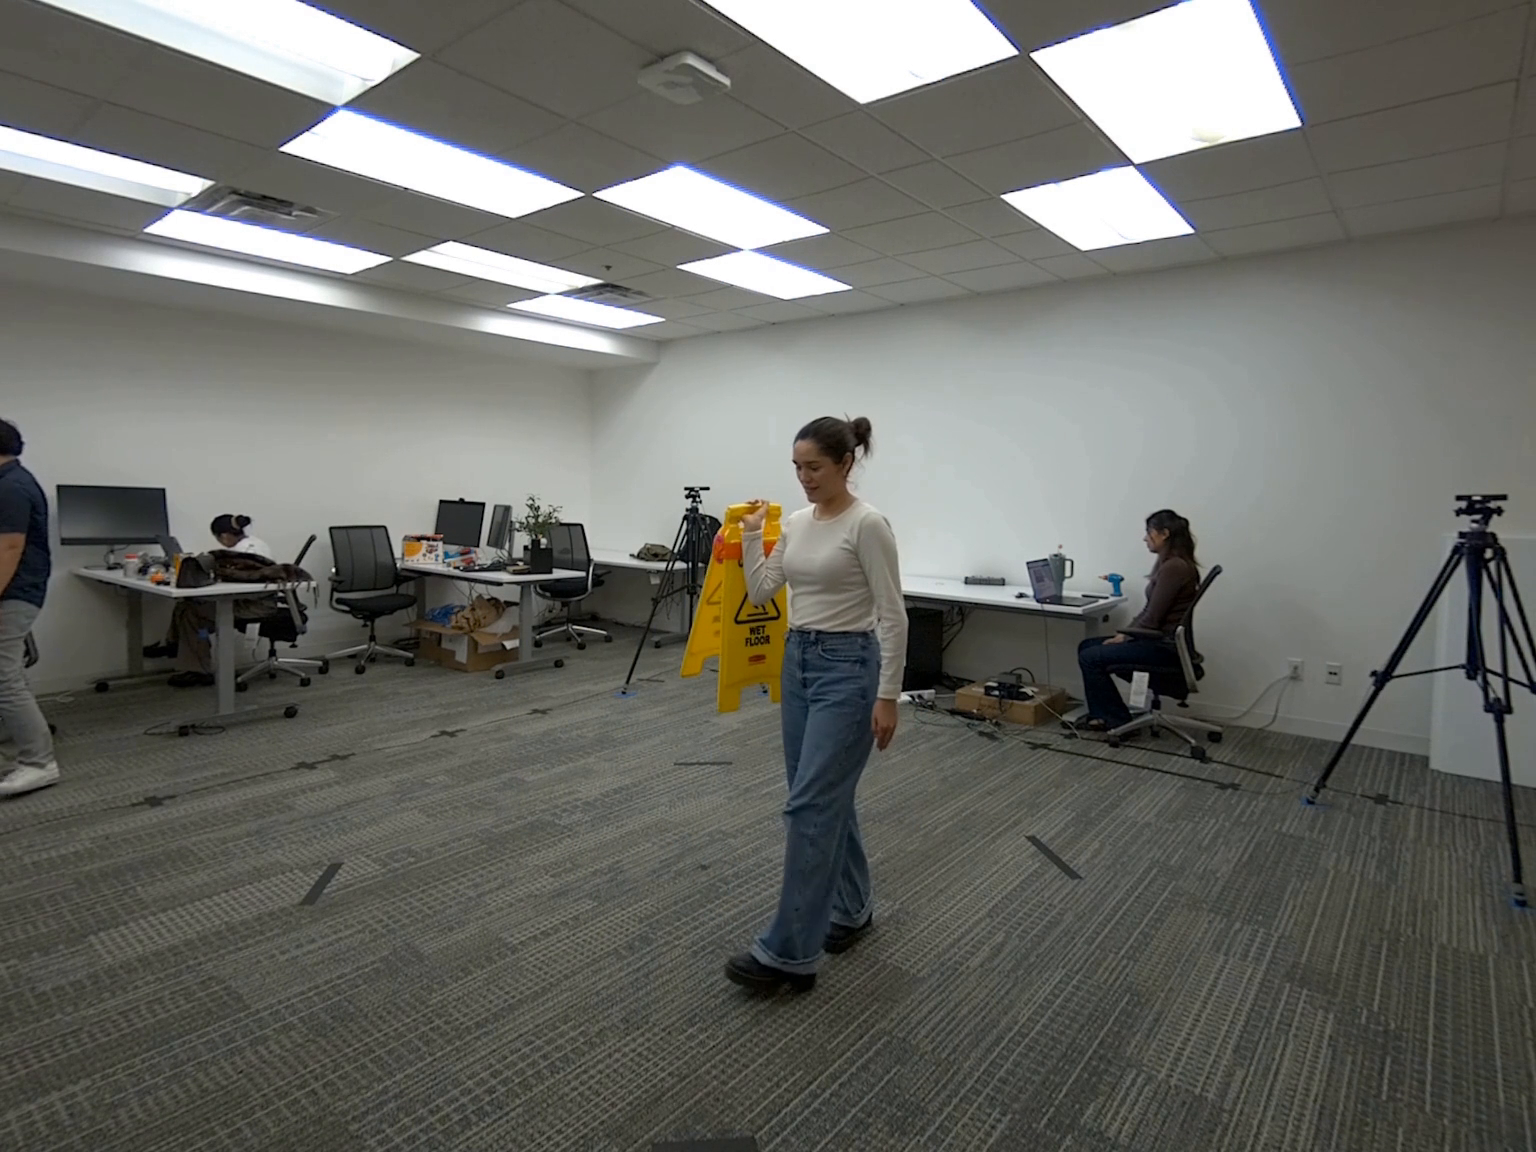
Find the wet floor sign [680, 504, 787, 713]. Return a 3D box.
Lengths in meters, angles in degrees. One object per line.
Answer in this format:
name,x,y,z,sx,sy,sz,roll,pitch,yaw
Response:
wet floor sign,-0.085,0.076,2.787,0.275,0.637,0.301,-4,20,-32
